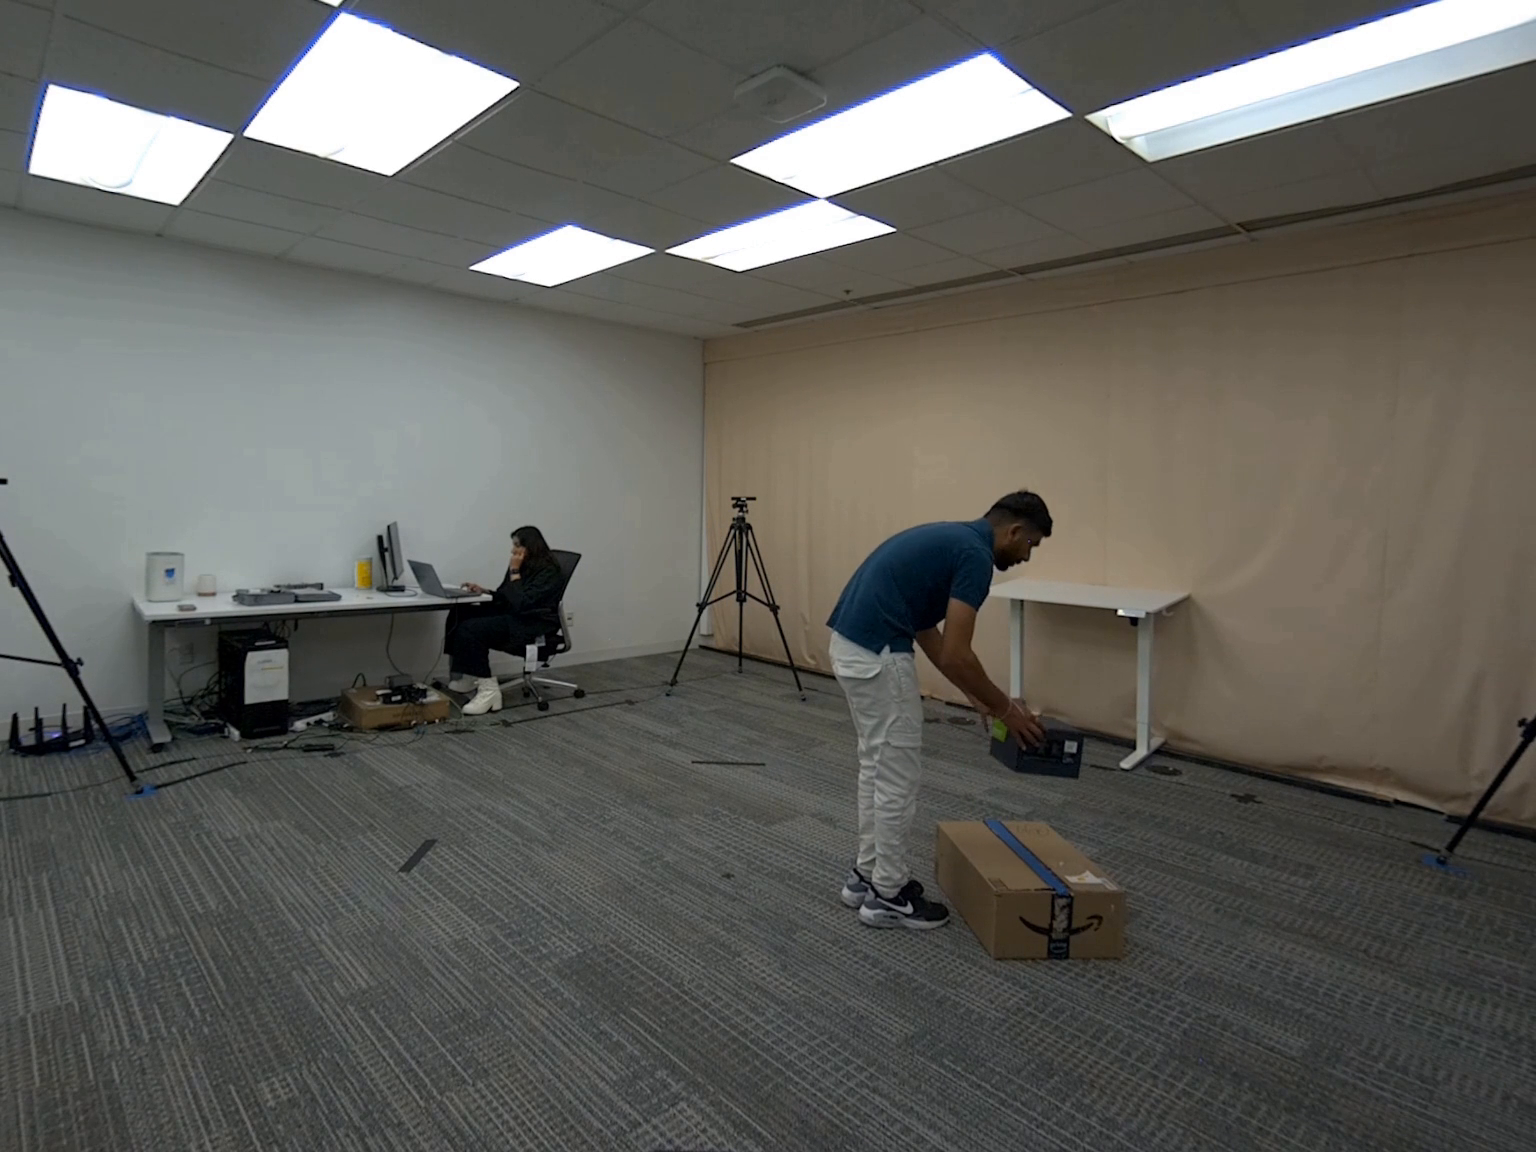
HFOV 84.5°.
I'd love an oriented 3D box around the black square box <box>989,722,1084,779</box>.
[{"bbox_3d":[0.888,0.555,2.833,0.216,0.156,0.229,6,2,-6],"label":"black square box"}]
